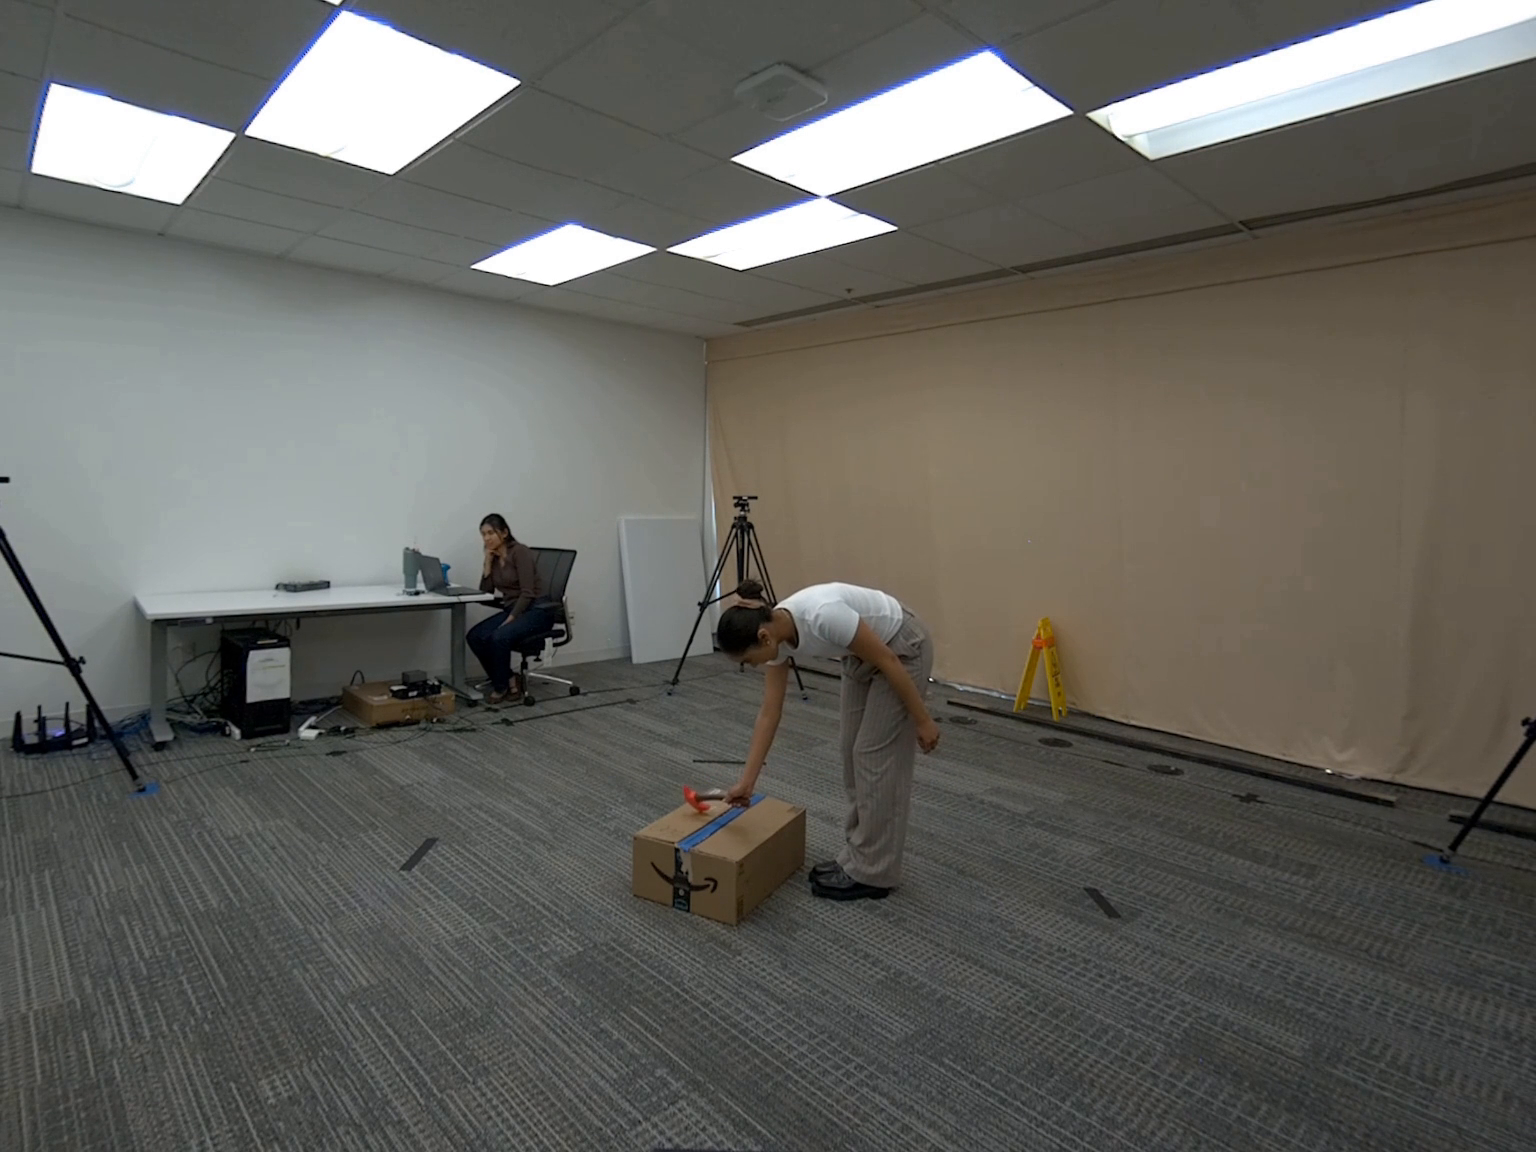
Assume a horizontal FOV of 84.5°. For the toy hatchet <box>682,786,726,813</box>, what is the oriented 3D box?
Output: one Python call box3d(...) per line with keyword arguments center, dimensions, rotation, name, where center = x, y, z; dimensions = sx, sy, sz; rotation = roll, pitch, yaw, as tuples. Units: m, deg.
box3d(center=(-0.185, 0.831, 3.071), dimensions=(0.276, 0.128, 0.030), rotation=(4, 35, 28), name="toy hatchet")
